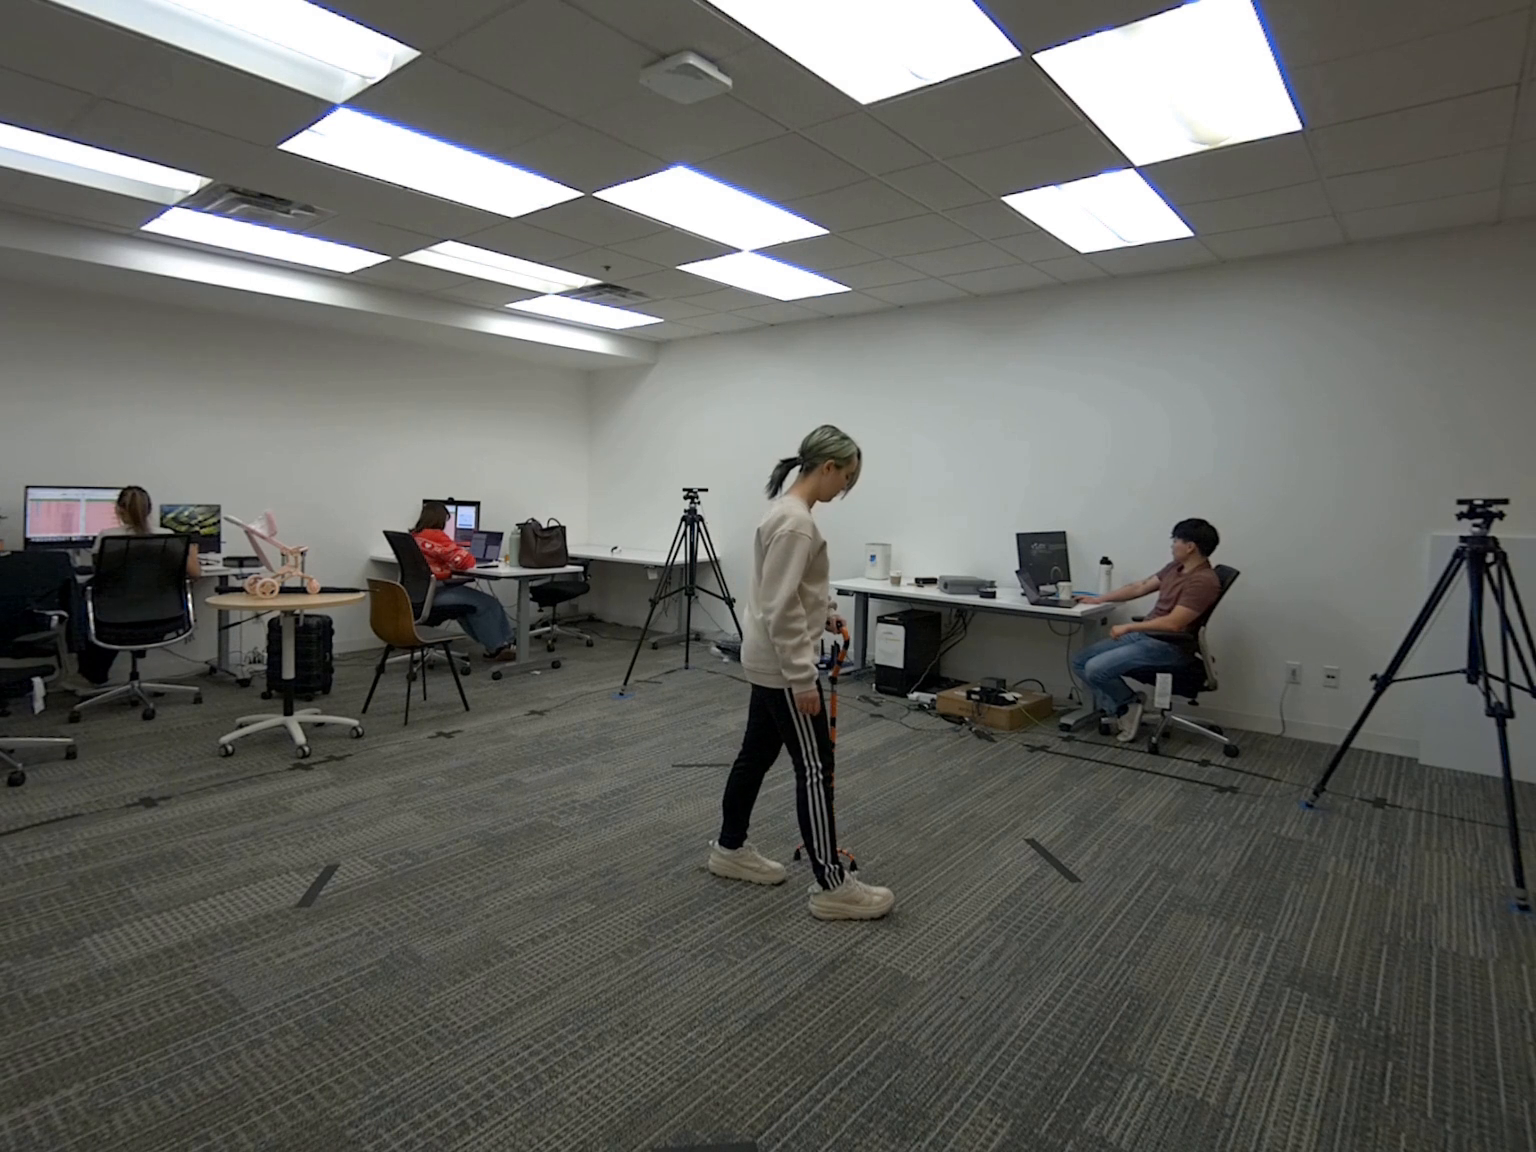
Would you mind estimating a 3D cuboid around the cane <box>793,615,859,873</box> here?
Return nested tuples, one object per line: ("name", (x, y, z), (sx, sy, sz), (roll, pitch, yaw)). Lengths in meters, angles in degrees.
("cane", (0.219, 0.620, 3.152), (0.147, 0.905, 0.213), (0, 3, -37))
